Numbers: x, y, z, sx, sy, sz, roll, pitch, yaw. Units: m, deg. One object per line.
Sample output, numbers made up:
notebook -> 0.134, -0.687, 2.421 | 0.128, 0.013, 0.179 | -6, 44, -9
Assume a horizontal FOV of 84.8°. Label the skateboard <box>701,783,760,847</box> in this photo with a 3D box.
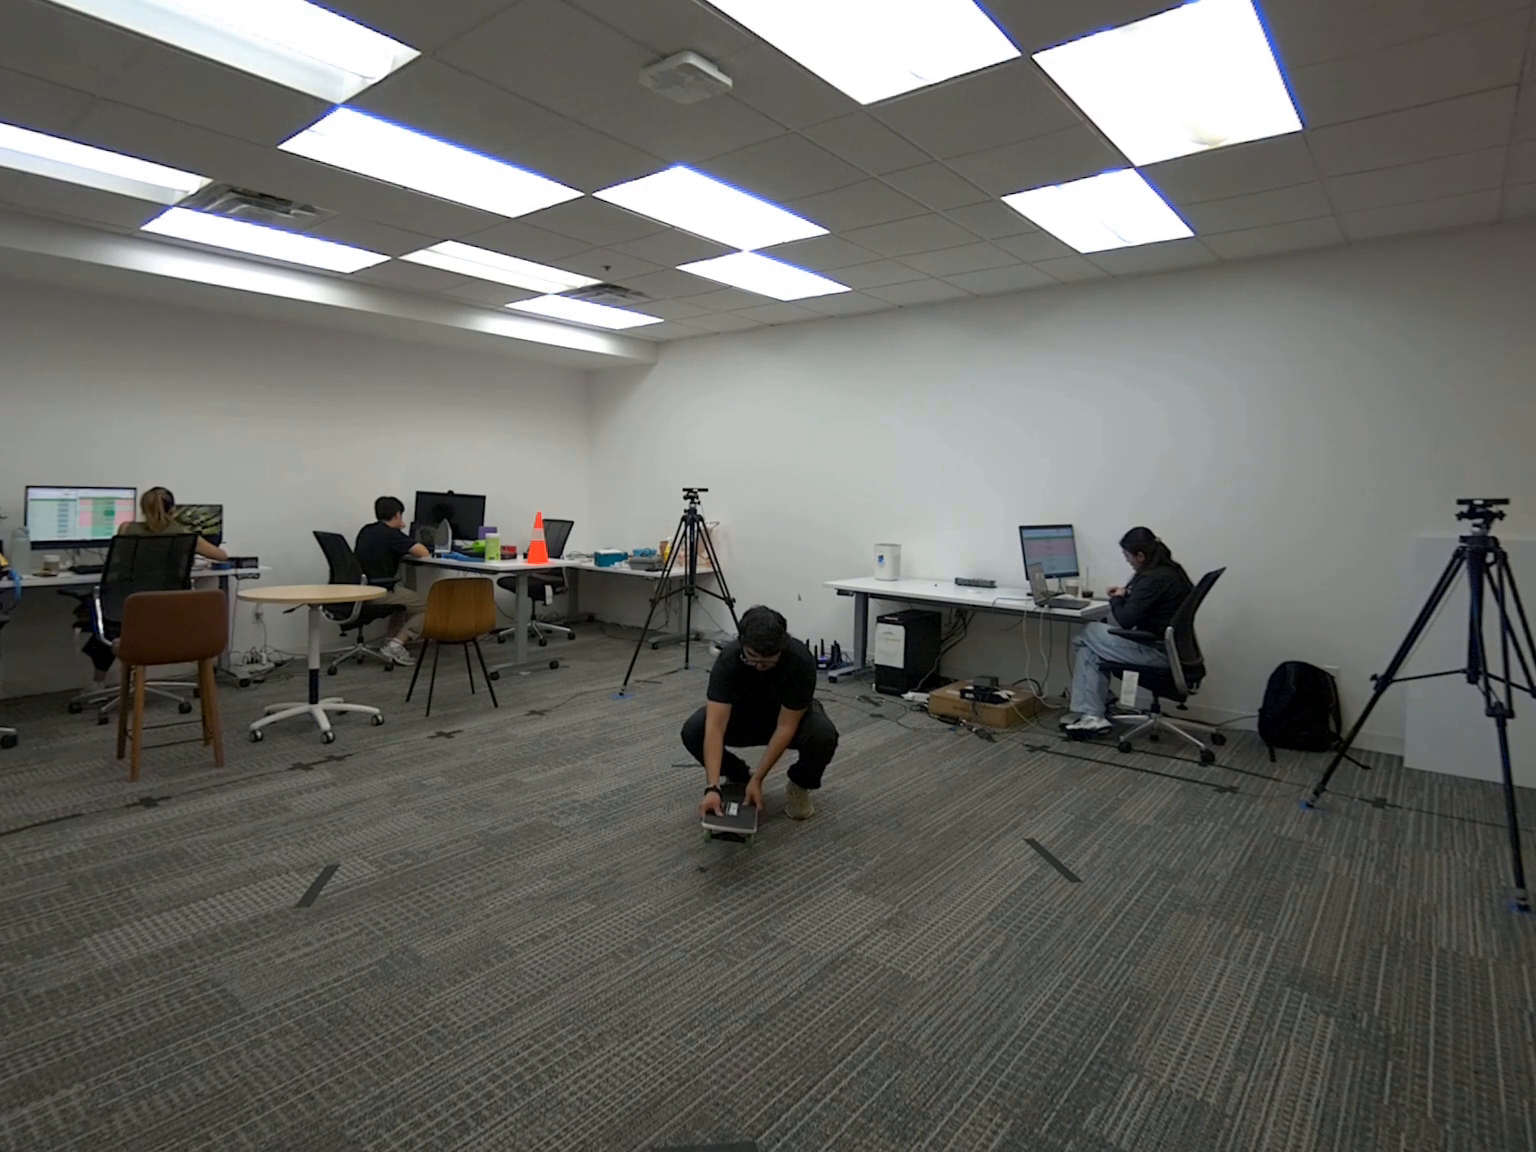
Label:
skateboard -> -0.147, 0.938, 3.299 | 0.194, 0.111, 0.779 | 6, -4, 1
